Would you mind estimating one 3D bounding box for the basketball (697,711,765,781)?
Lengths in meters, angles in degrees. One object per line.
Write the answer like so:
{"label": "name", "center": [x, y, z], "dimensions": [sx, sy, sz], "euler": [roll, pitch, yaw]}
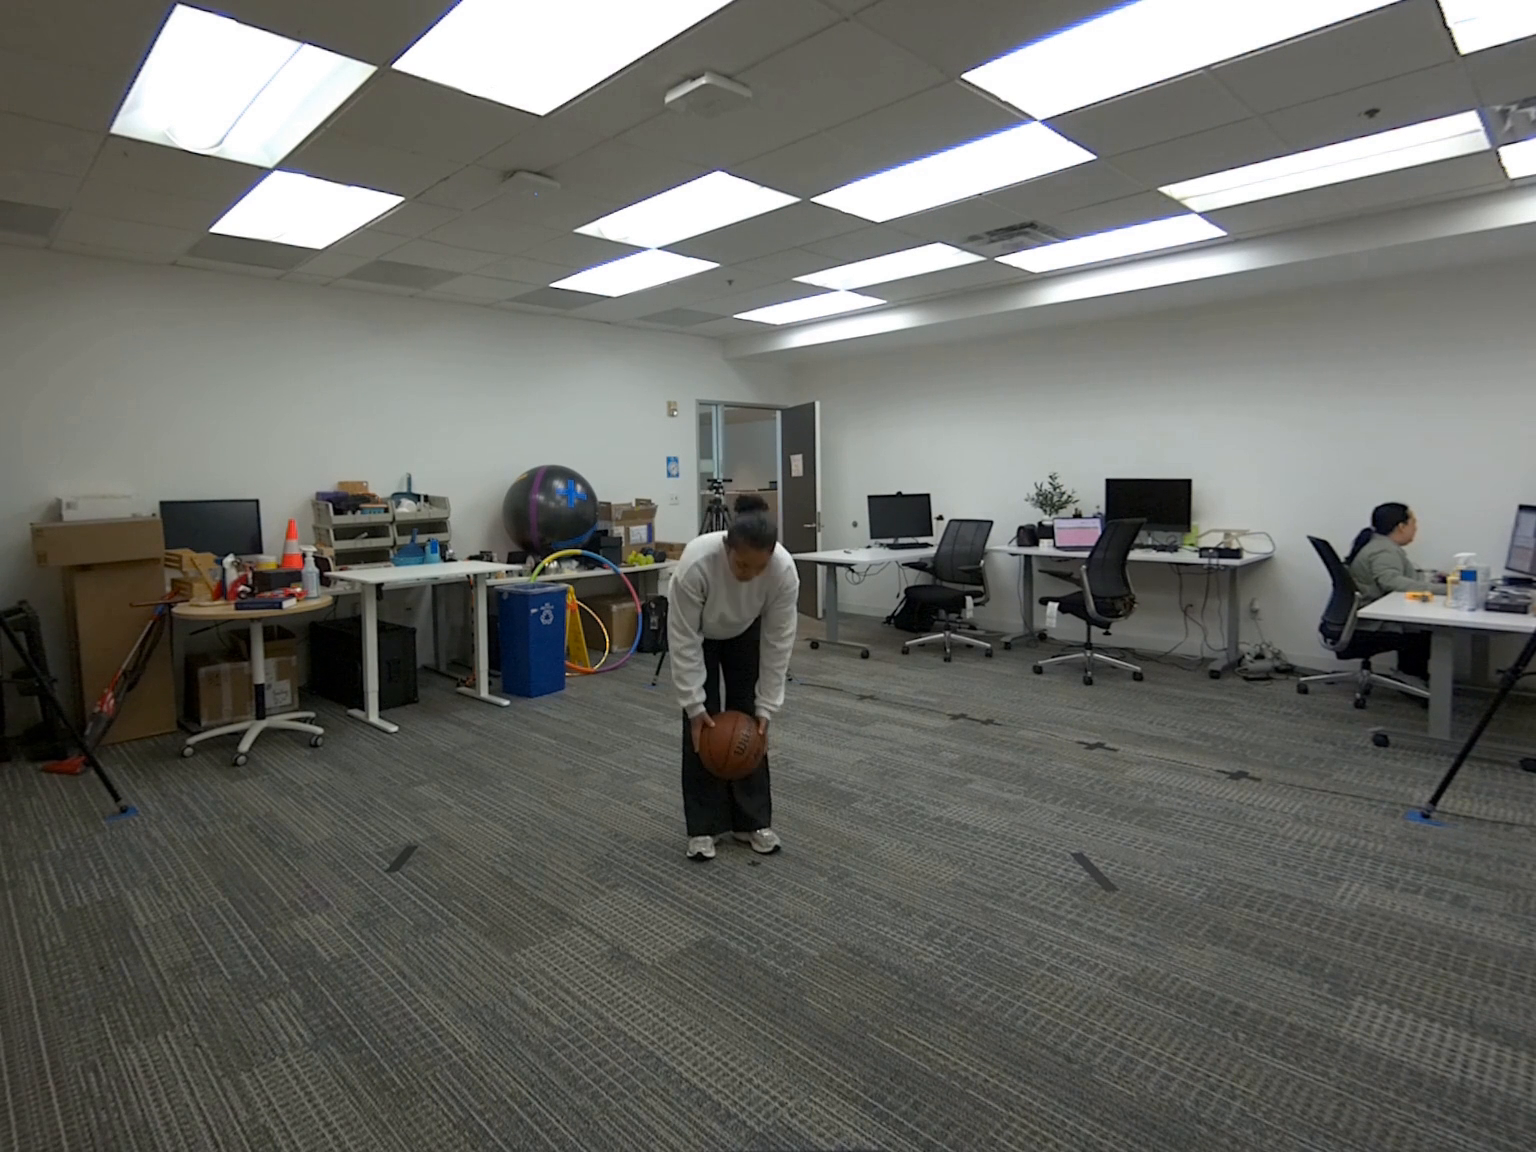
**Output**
{"label": "basketball", "center": [-0.140, 0.607, 3.063], "dimensions": [0.236, 0.235, 0.237], "euler": [-1, 5, -2]}
